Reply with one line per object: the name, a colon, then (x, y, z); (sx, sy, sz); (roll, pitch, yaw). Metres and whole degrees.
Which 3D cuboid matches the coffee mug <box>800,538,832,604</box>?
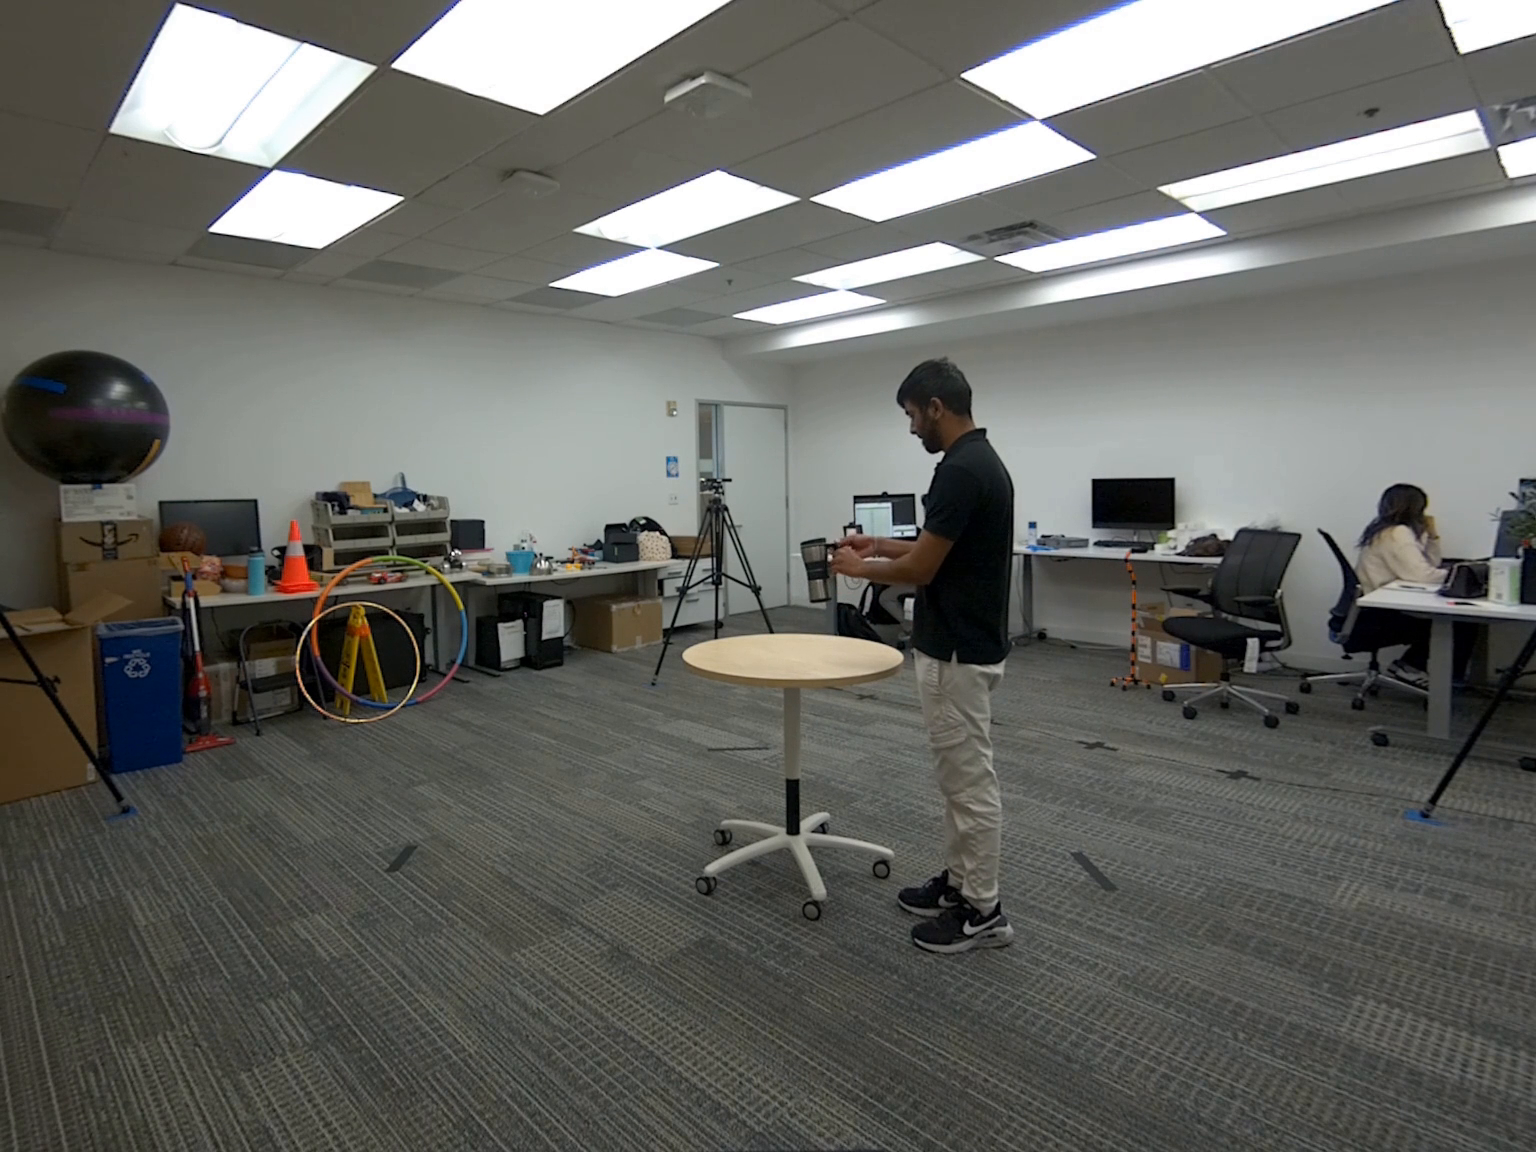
coffee mug: (0.186, -0.012, 2.748); (0.125, 0.204, 0.085); (-10, -5, 43)
